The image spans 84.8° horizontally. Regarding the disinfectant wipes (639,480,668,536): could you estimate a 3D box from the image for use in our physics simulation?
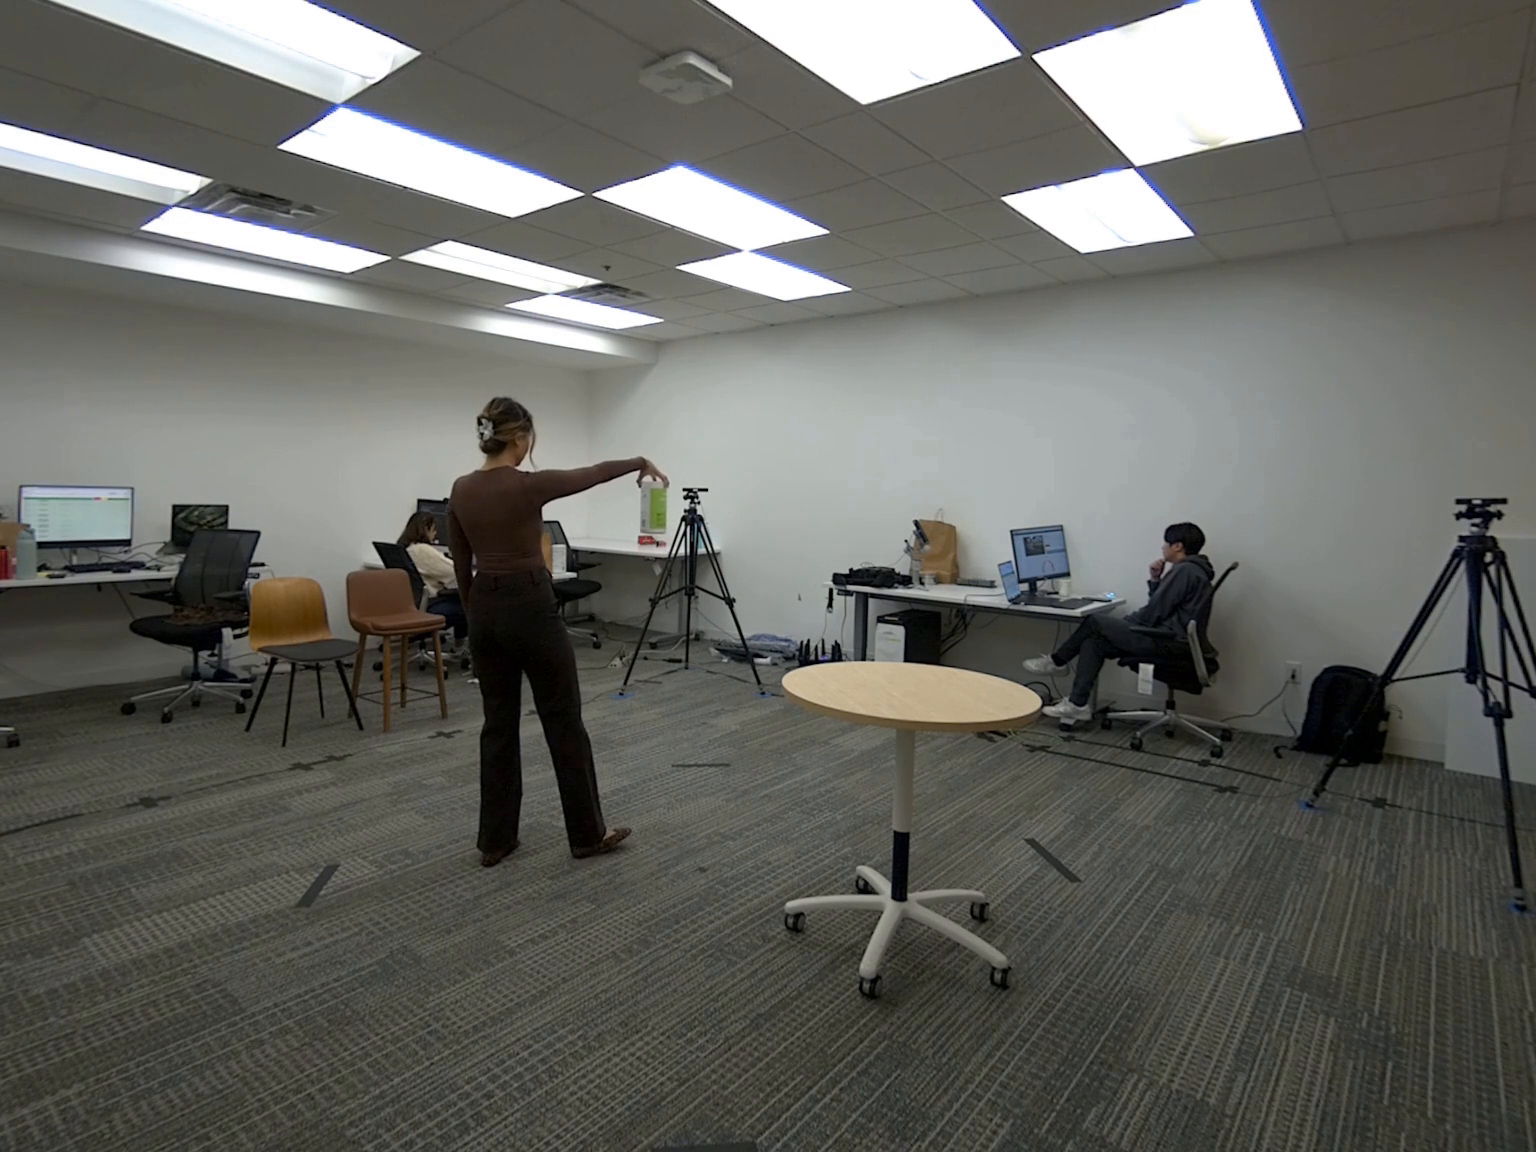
[{"bbox_3d":[-0.487,-0.286,3.535,0.118,0.217,0.118,1,2,-2],"label":"disinfectant wipes"}]
